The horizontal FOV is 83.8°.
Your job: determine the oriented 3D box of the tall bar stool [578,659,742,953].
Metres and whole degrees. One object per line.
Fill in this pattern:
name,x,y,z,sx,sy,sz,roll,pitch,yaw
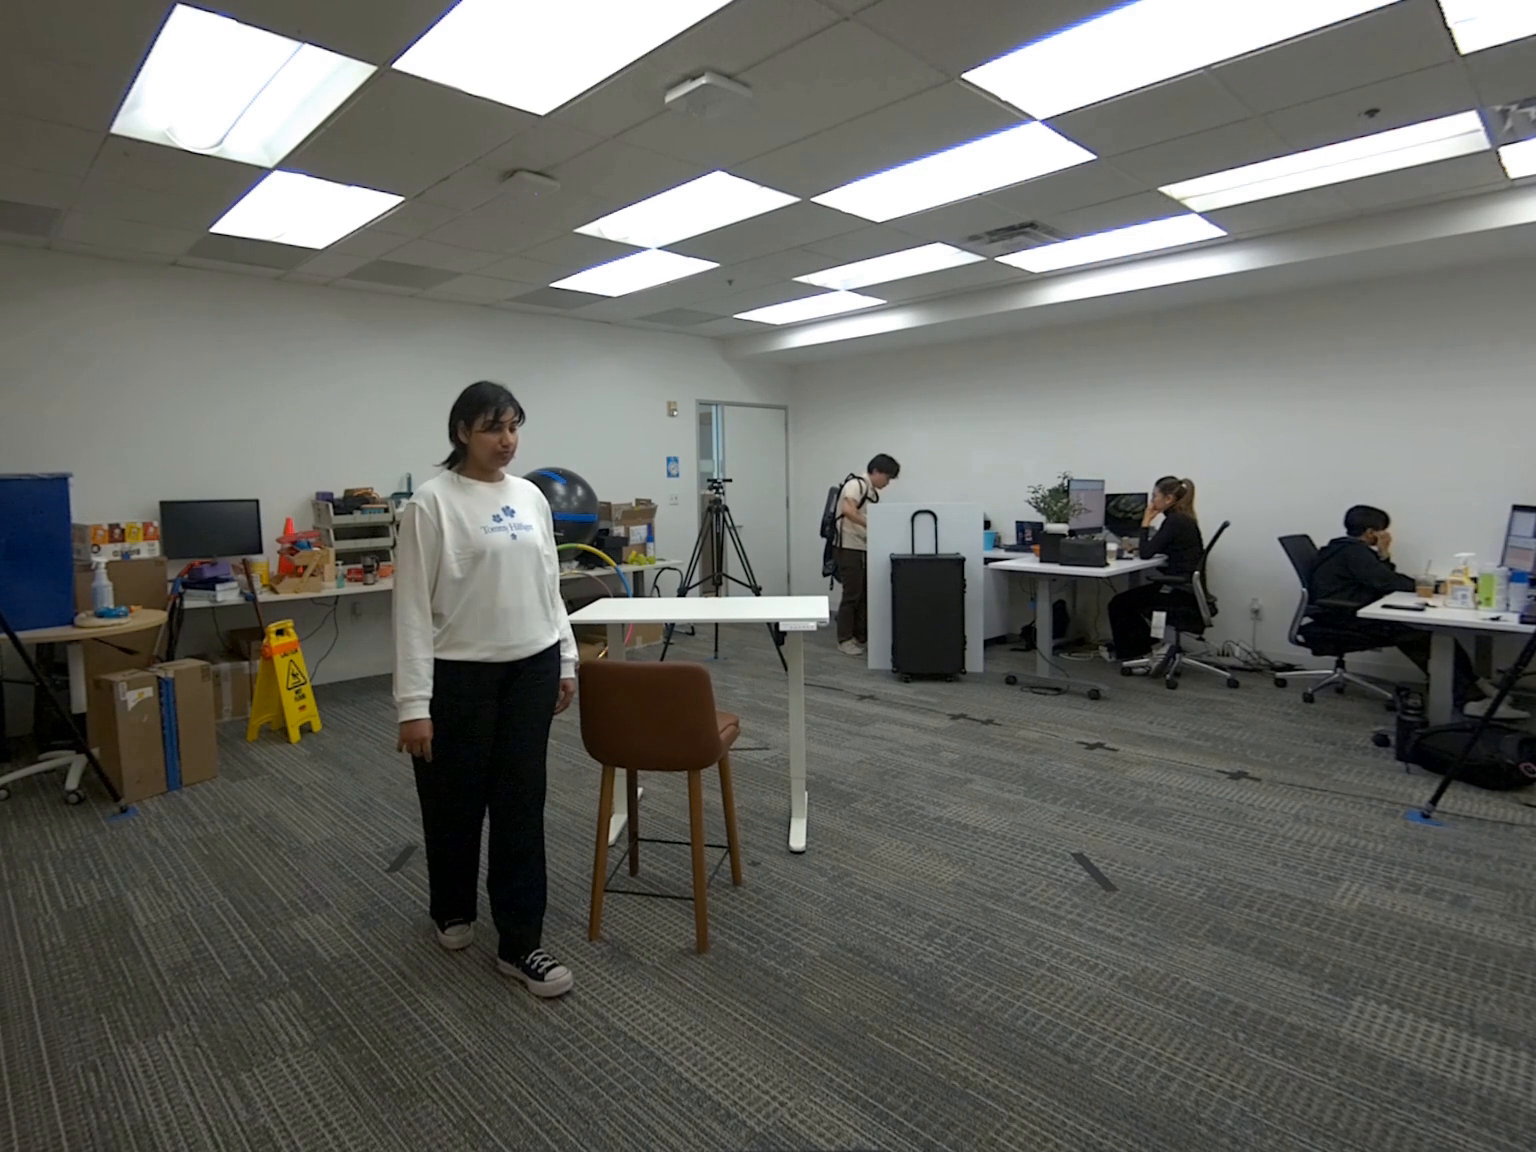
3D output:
tall bar stool,-0.333,0.656,2.752,0.463,0.884,0.464,0,7,13
